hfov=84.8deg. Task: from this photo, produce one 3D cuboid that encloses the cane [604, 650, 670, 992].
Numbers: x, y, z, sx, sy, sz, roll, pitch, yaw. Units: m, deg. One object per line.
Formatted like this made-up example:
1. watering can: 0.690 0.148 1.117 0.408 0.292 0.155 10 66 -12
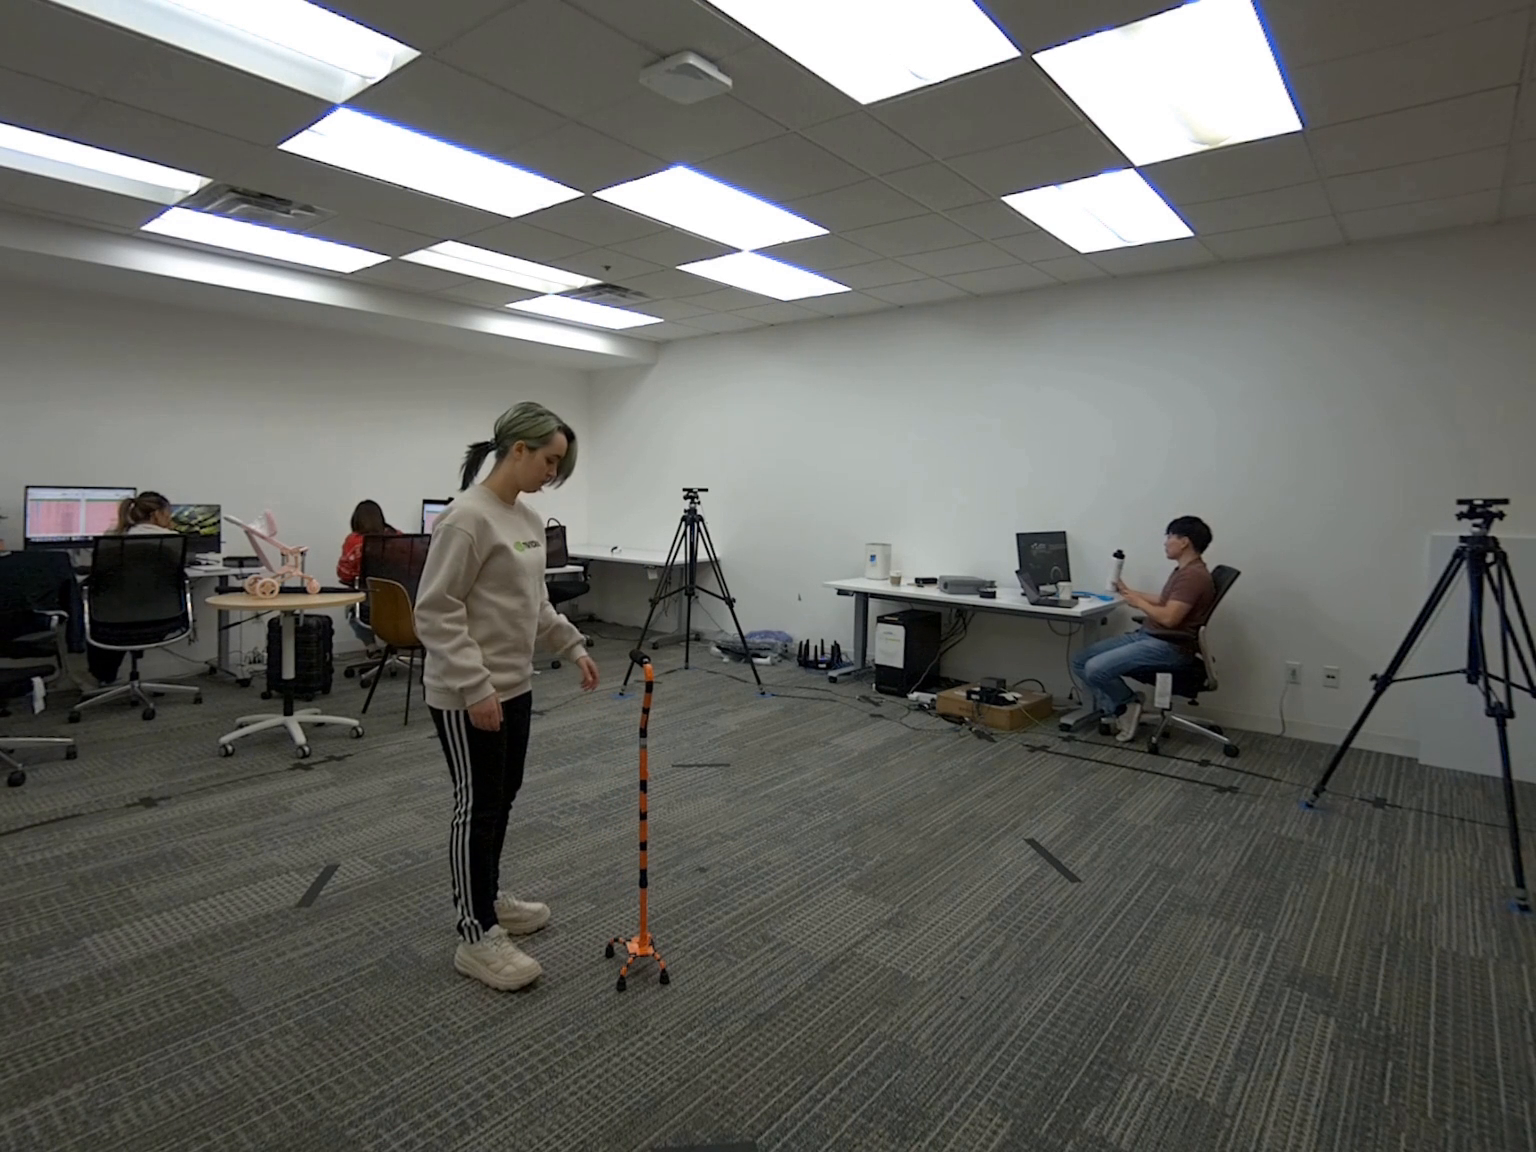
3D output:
1. cane: -0.384 0.679 2.437 0.148 0.906 0.211 -1 3 -22
